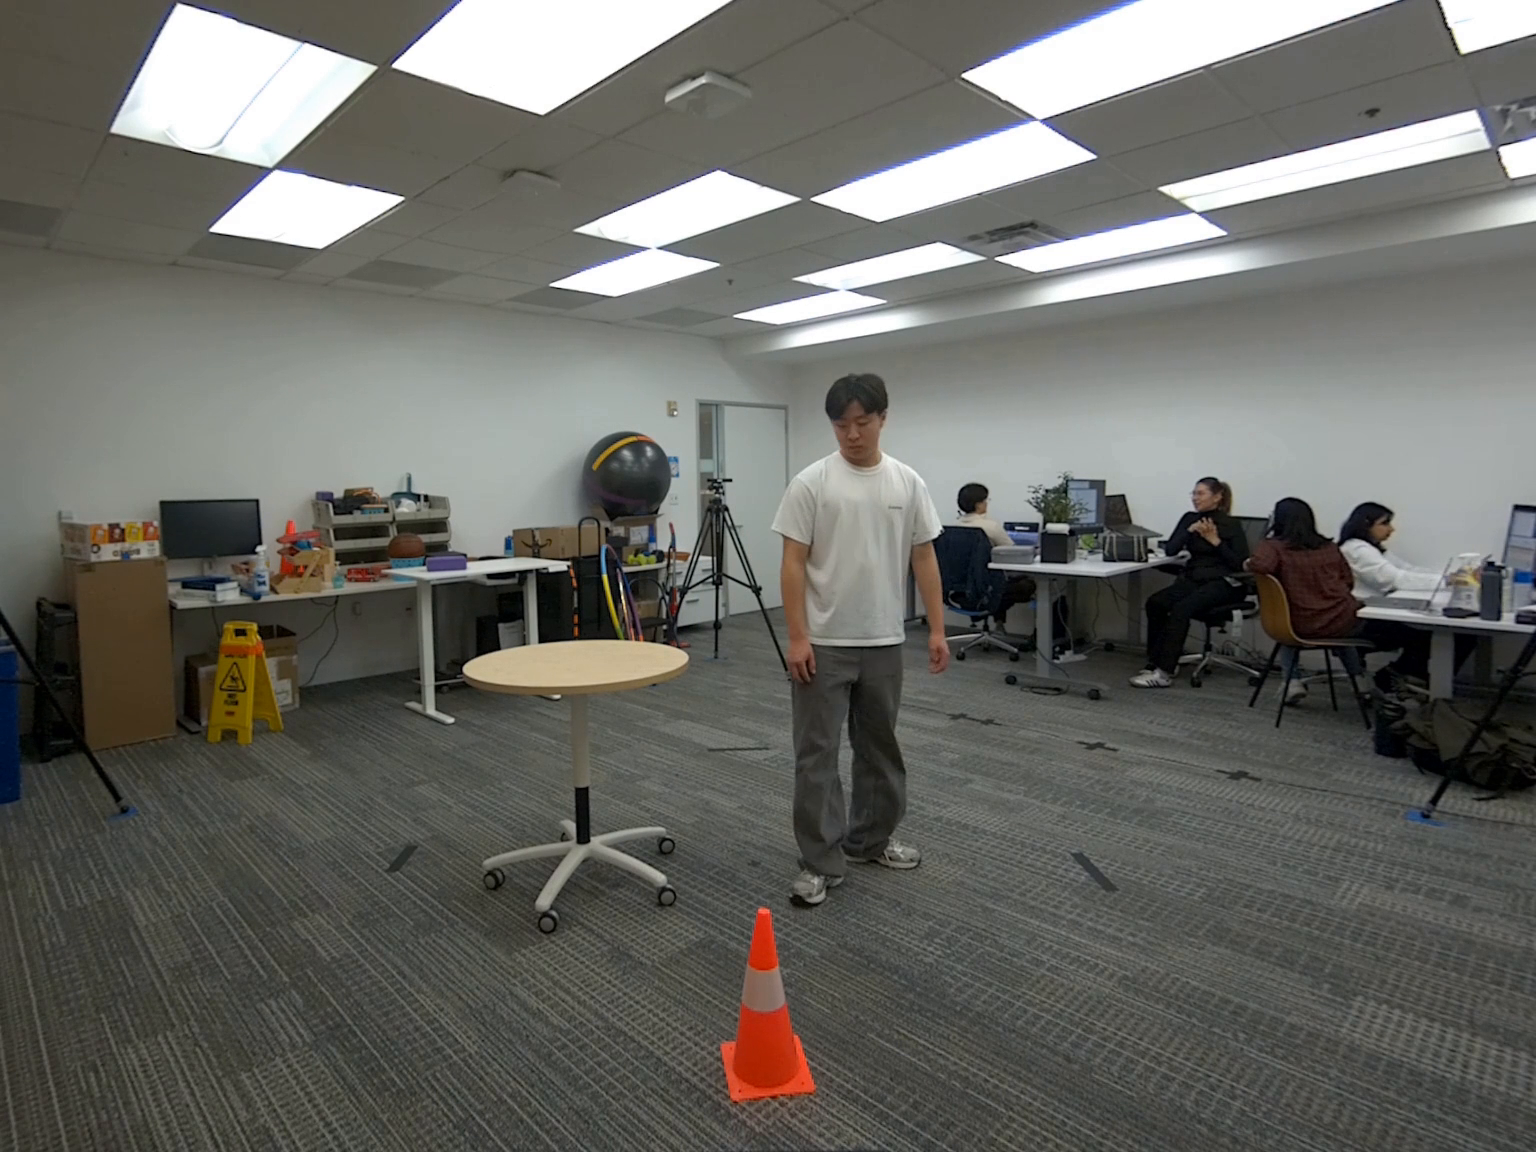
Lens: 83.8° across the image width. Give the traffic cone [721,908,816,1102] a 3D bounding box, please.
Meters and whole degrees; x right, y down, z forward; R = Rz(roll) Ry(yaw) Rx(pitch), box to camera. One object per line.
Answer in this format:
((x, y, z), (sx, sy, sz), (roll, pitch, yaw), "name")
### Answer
((0.001, 0.990, 2.018), (0.201, 0.382, 0.208), (-3, 5, -10), "traffic cone")
